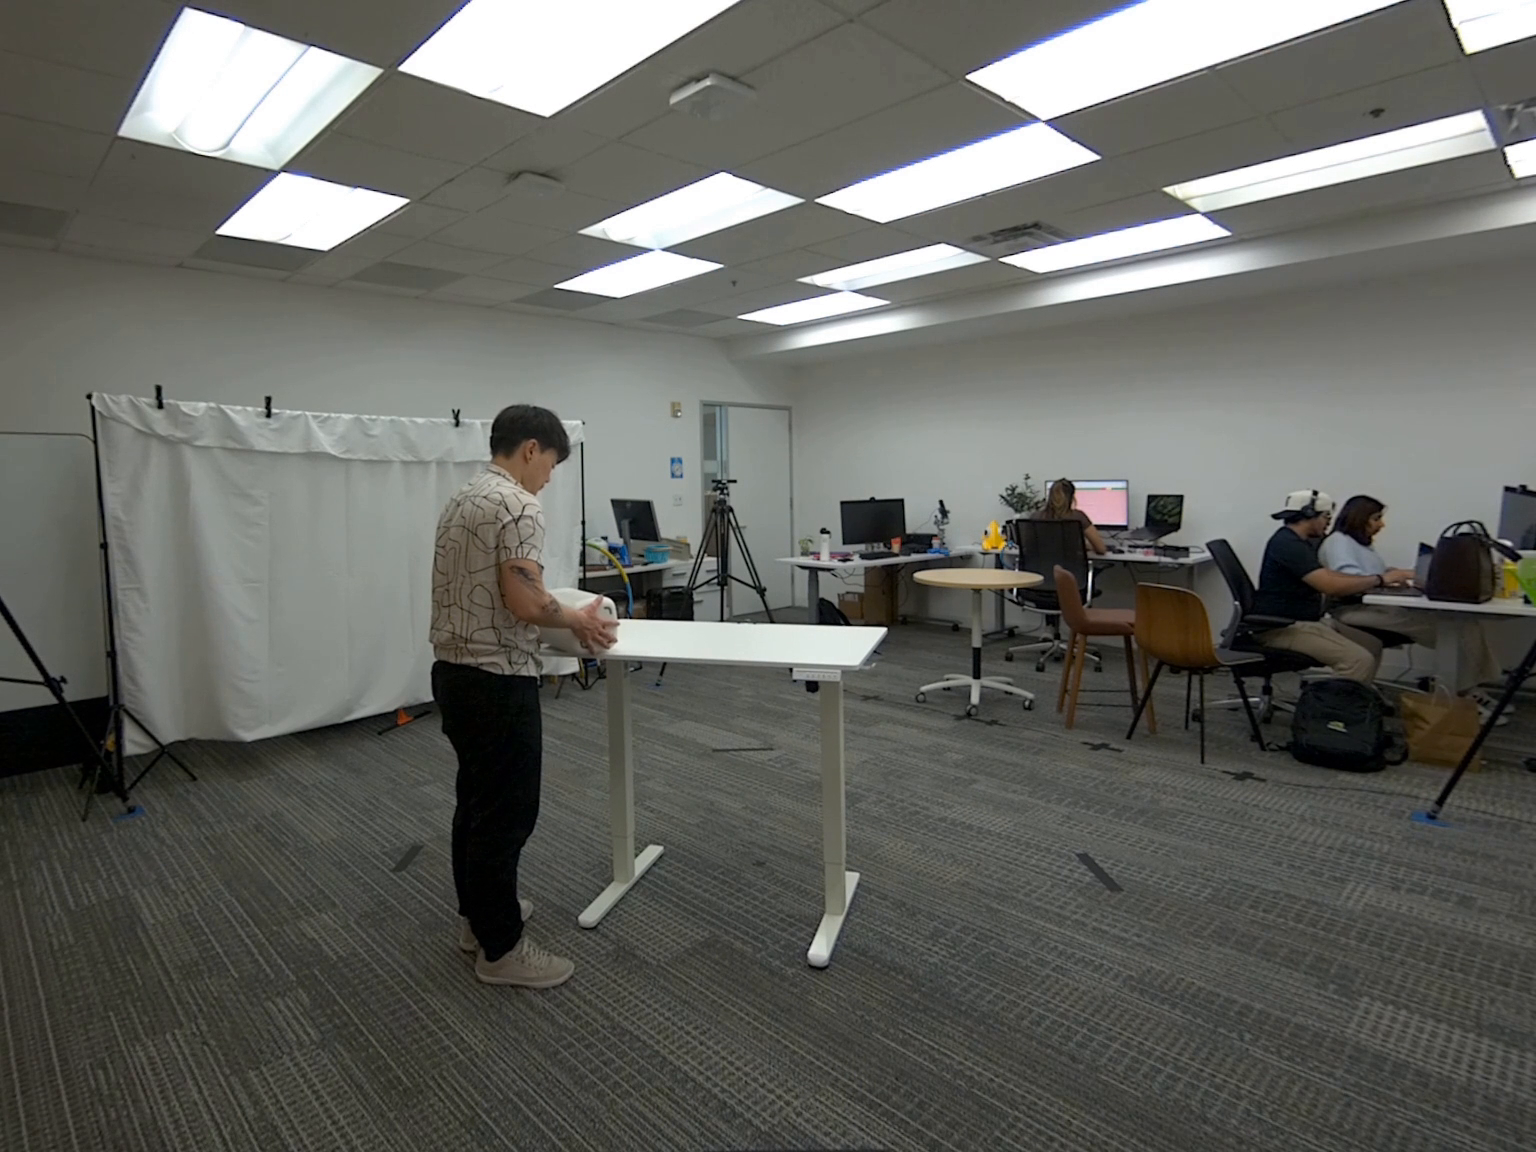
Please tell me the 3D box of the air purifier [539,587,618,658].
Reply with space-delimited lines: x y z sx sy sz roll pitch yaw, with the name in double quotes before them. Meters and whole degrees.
"air purifier" -0.601 0.138 2.657 0.274 0.169 0.167 8 14 43
